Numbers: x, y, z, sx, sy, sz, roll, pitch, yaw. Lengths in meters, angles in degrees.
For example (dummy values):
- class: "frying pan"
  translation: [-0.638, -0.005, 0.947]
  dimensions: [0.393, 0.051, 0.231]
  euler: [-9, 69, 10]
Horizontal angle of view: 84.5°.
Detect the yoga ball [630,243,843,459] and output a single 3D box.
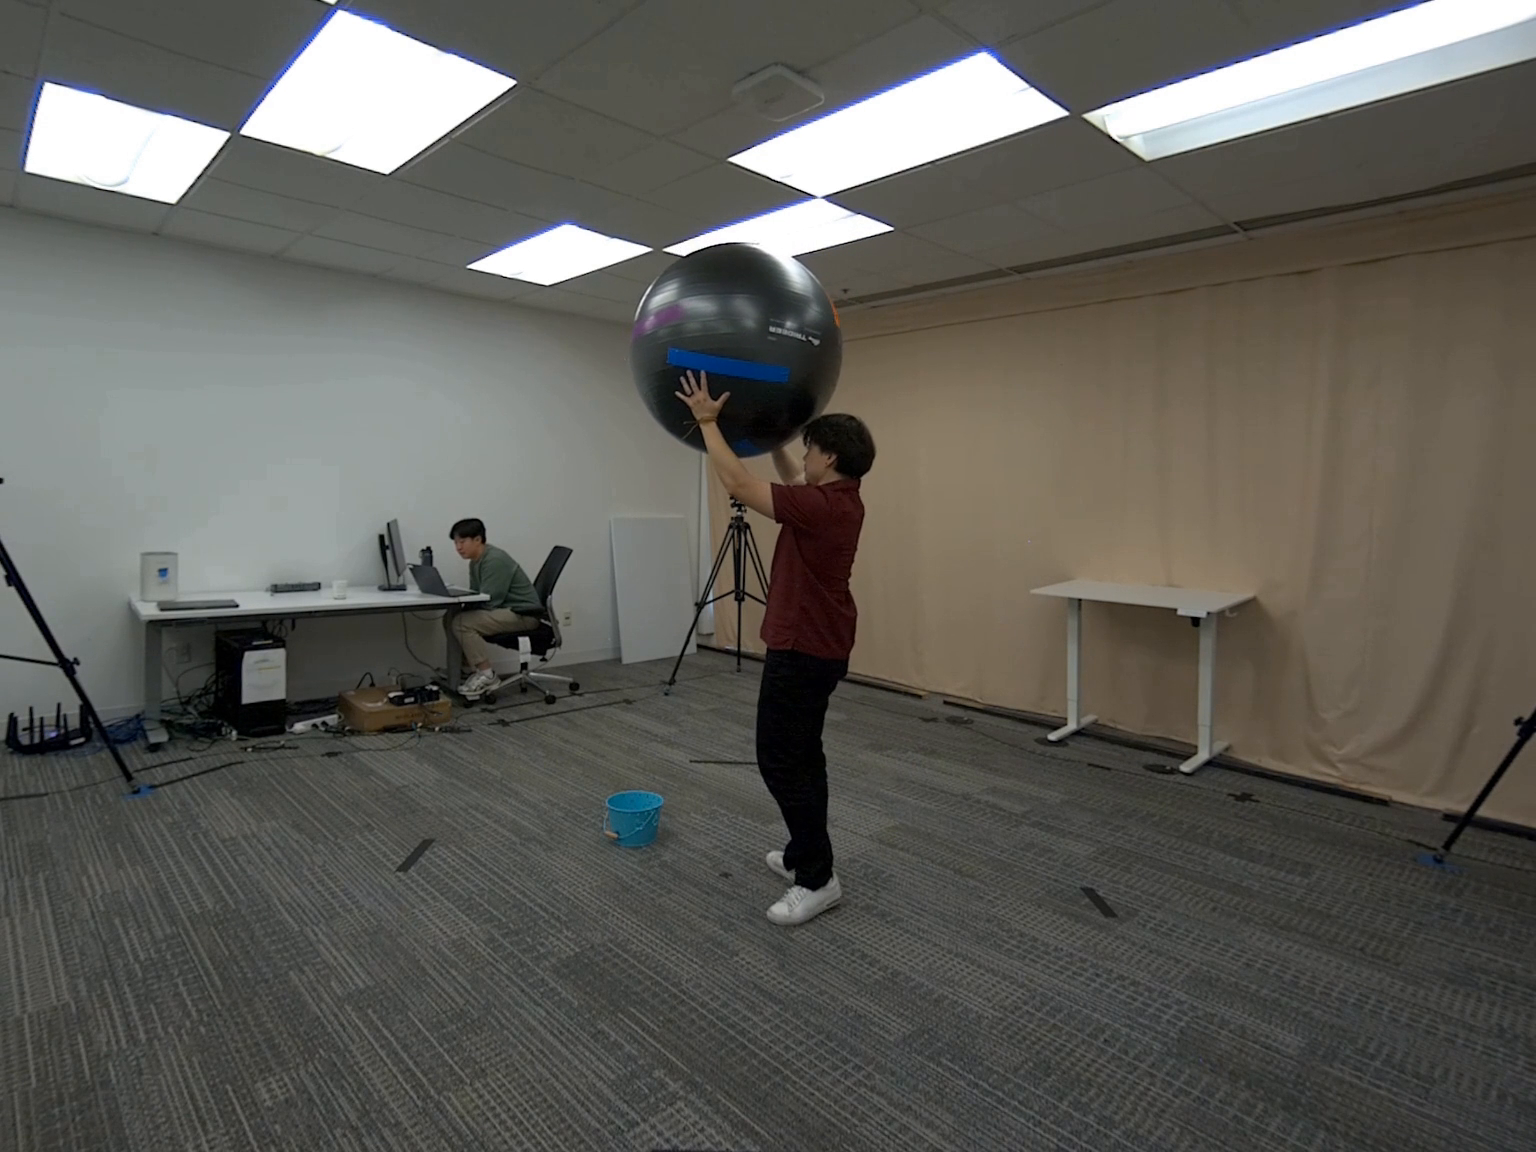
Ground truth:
- class: "yoga ball"
  translation: [-0.122, -0.804, 3.033]
  dimensions: [0.757, 0.756, 0.761]
  euler: [1, 4, -1]
